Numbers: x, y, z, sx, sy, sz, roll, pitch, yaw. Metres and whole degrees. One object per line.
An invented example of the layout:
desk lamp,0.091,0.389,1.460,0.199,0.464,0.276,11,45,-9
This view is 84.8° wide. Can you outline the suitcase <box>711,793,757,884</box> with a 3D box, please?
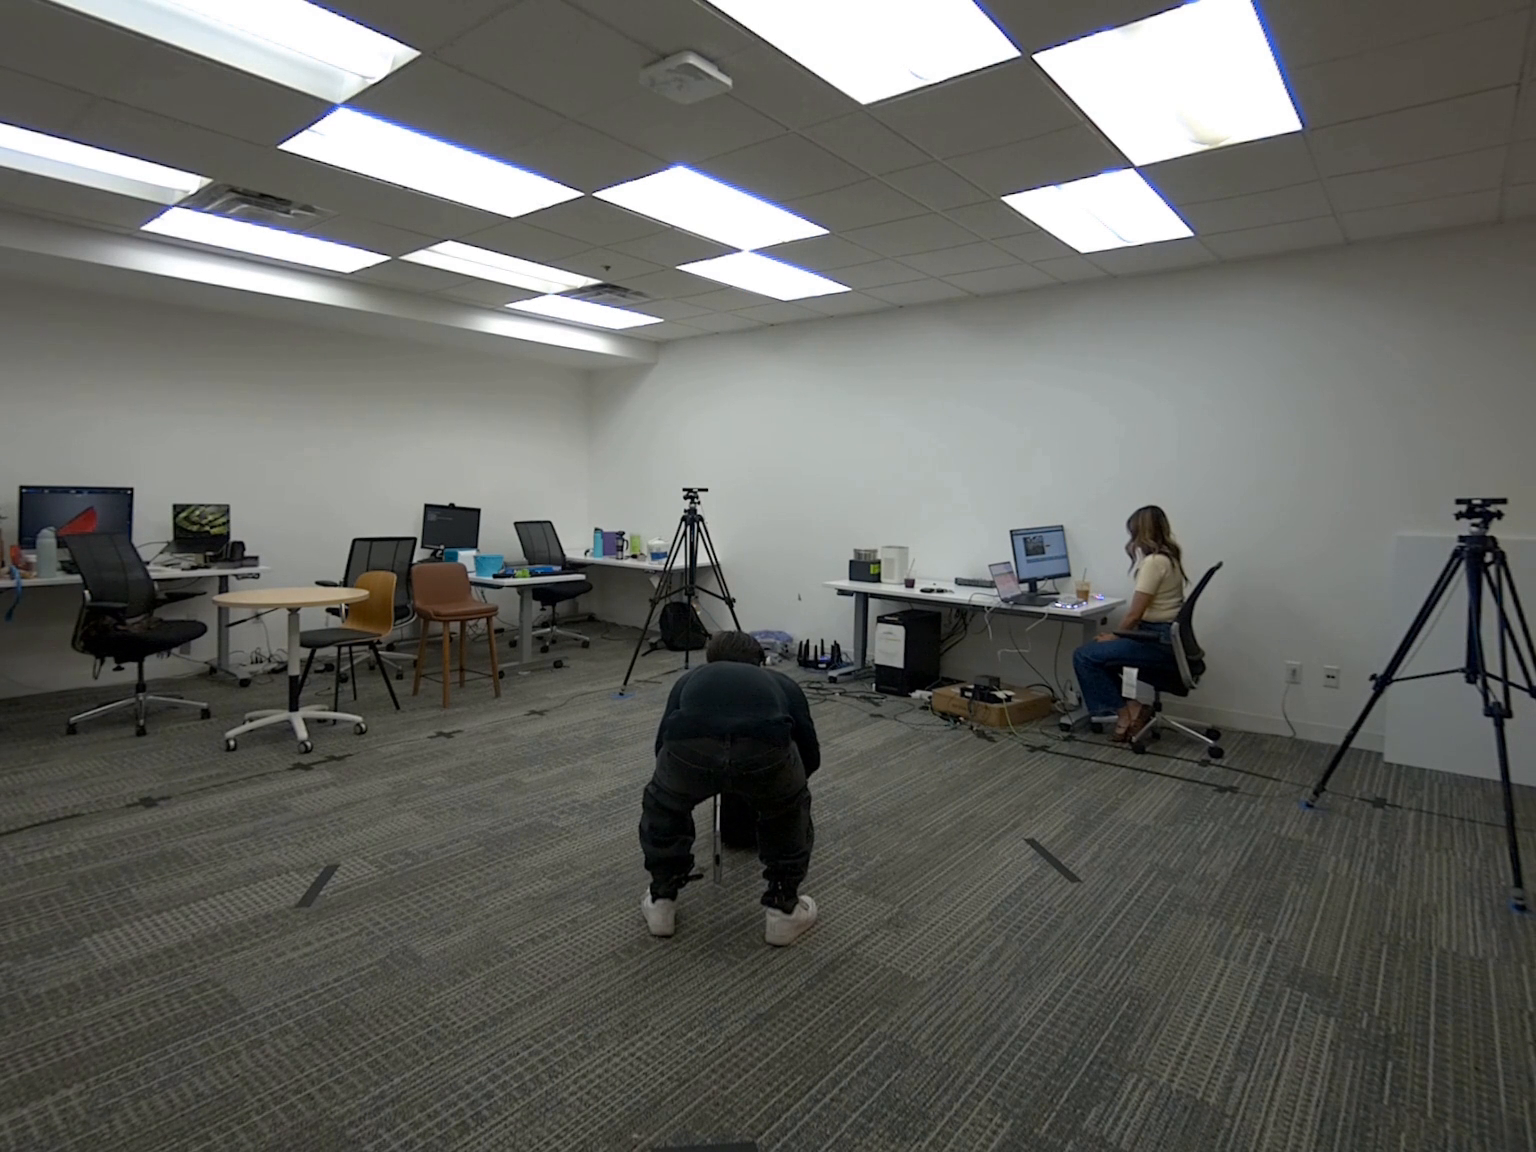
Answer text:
suitcase,-0.096,0.868,3.290,0.257,0.383,0.983,-1,5,-2
